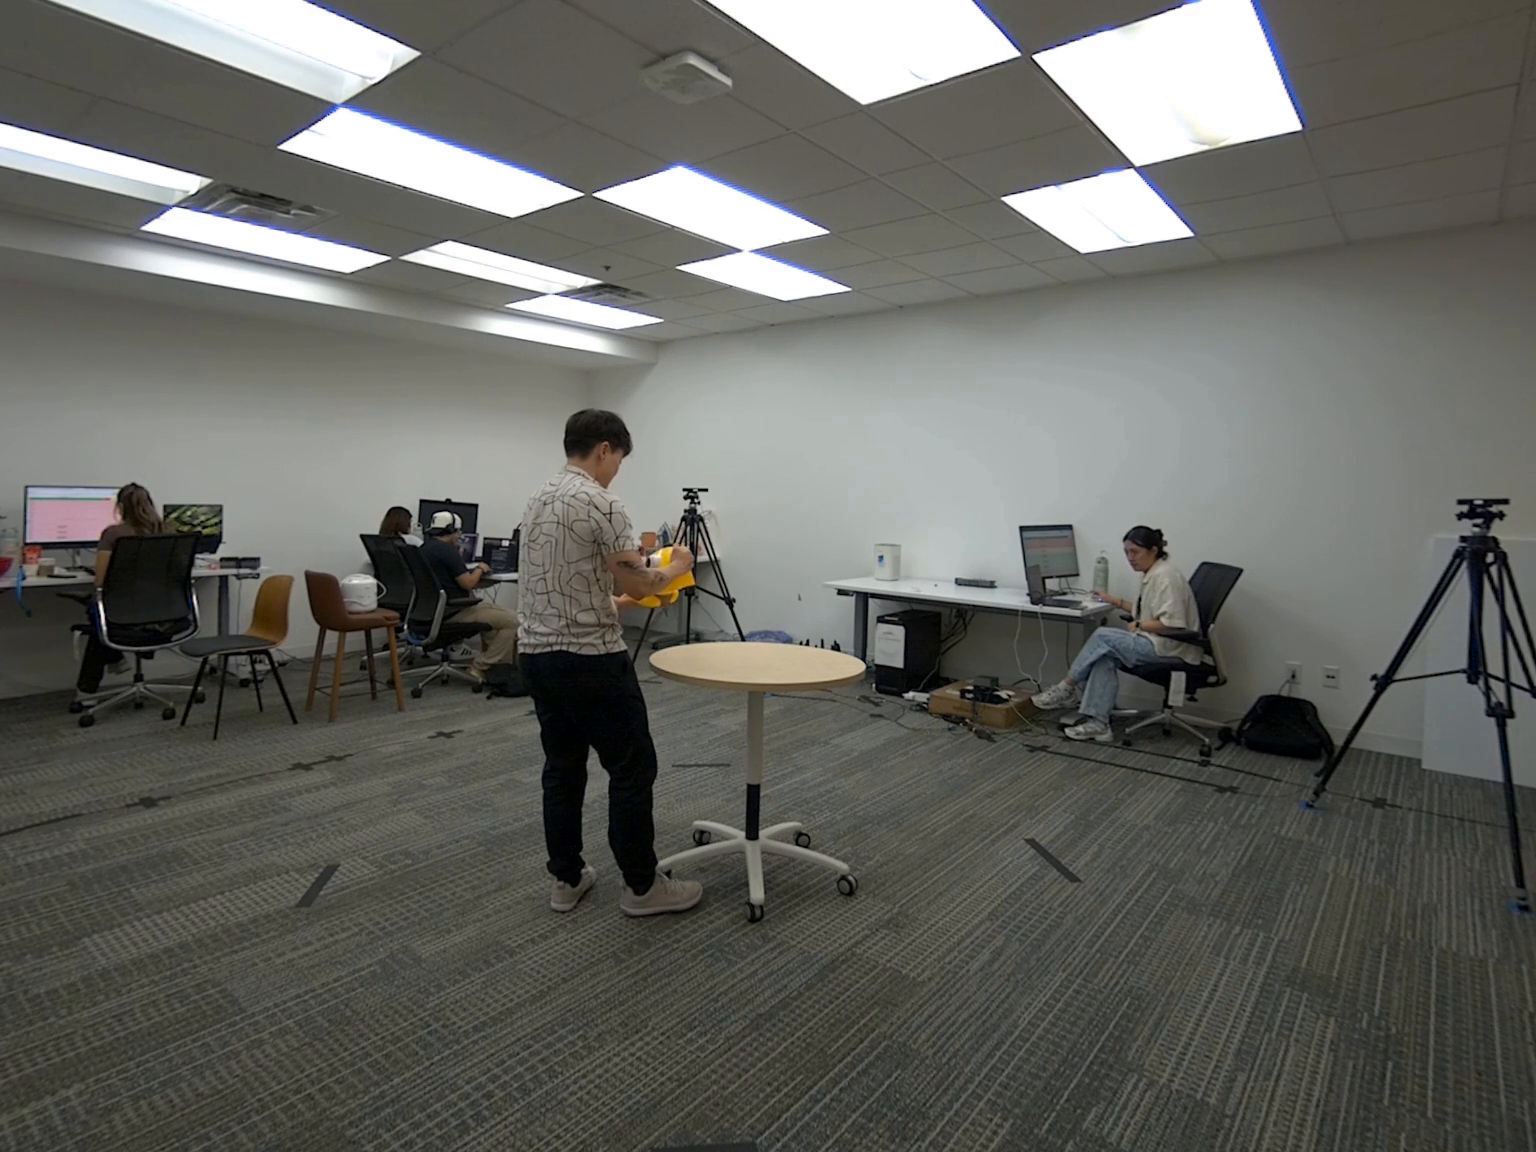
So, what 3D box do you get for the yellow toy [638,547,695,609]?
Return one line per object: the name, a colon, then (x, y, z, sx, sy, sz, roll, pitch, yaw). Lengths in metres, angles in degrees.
yellow toy: (-0.387, -0.033, 3.011, 0.200, 0.228, 0.200, 35, 29, 30)
